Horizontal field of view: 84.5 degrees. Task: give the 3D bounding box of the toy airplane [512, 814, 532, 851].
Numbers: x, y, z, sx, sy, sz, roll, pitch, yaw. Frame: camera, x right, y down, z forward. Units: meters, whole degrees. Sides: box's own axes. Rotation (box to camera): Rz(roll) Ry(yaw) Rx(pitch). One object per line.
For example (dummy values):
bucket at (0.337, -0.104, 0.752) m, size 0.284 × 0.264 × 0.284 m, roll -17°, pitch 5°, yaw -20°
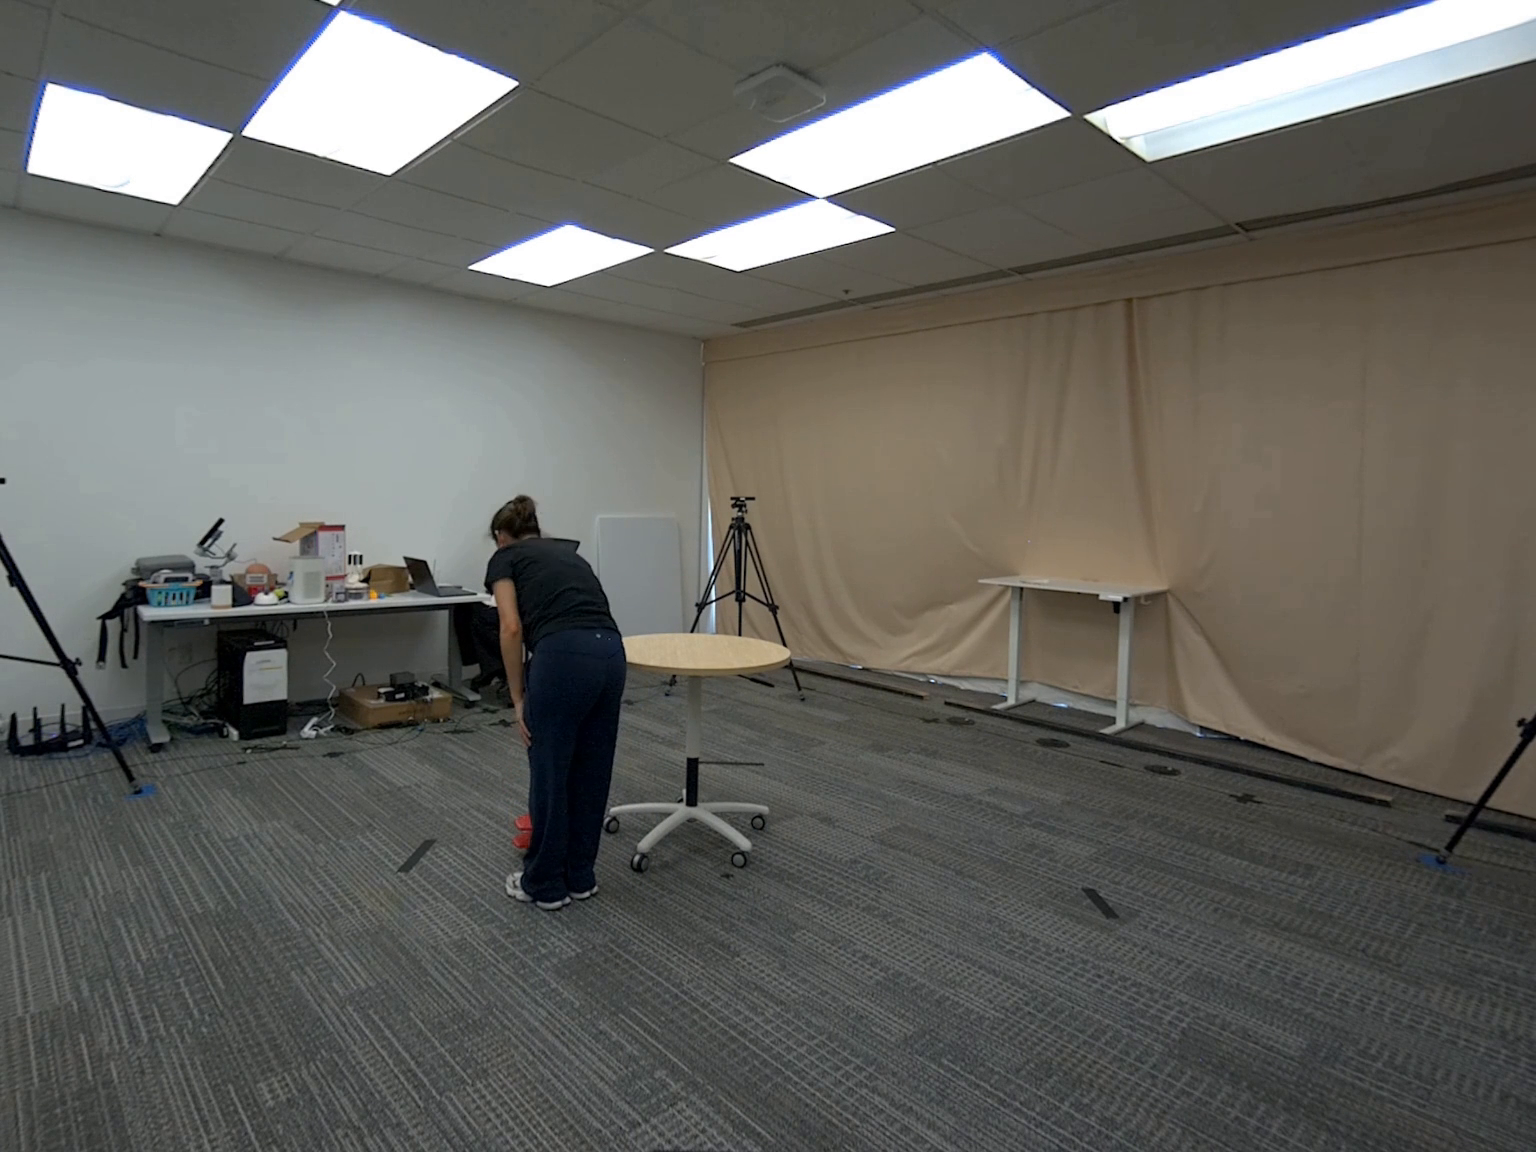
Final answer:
toy airplane at (-0.834, 1.012, 3.235) m, size 0.263 × 0.156 × 0.247 m, roll 2°, pitch 4°, yaw 21°
